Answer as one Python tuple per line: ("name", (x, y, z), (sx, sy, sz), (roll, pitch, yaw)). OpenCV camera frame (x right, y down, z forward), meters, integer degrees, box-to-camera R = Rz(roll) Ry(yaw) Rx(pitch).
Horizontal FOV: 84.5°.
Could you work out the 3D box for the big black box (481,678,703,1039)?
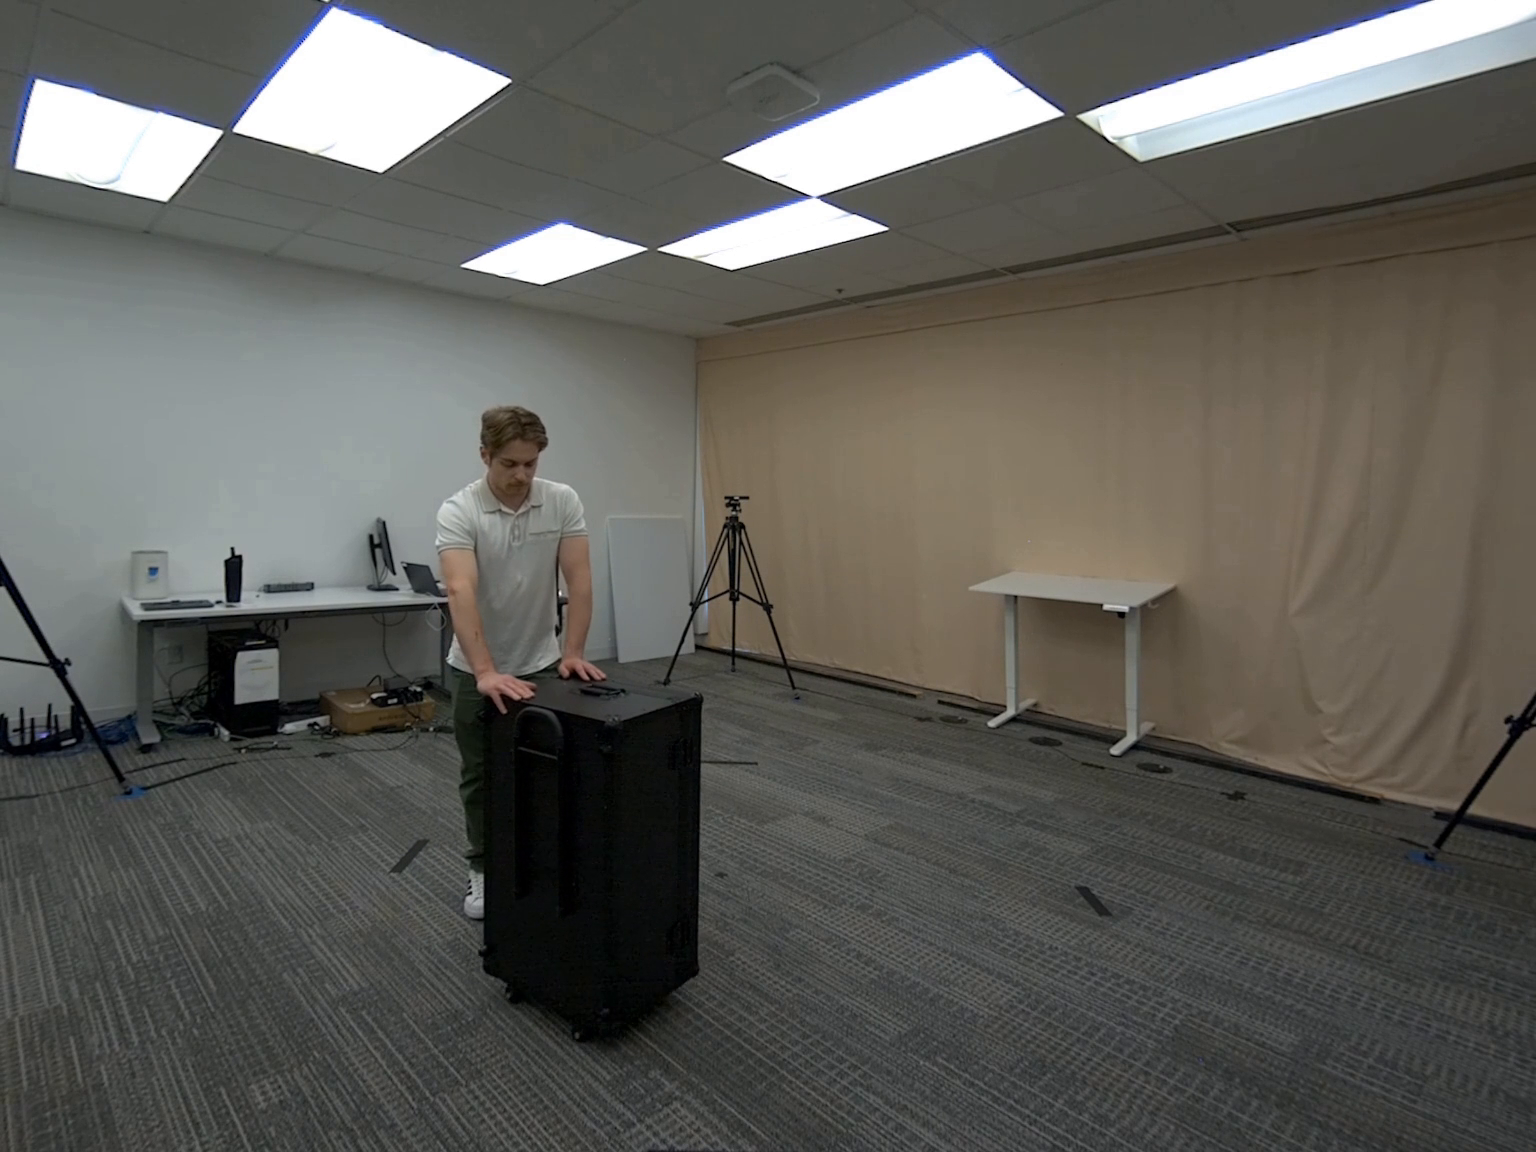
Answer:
("big black box", (-0.483, 0.750, 2.293), (0.535, 0.866, 0.377), (3, 4, 34))
